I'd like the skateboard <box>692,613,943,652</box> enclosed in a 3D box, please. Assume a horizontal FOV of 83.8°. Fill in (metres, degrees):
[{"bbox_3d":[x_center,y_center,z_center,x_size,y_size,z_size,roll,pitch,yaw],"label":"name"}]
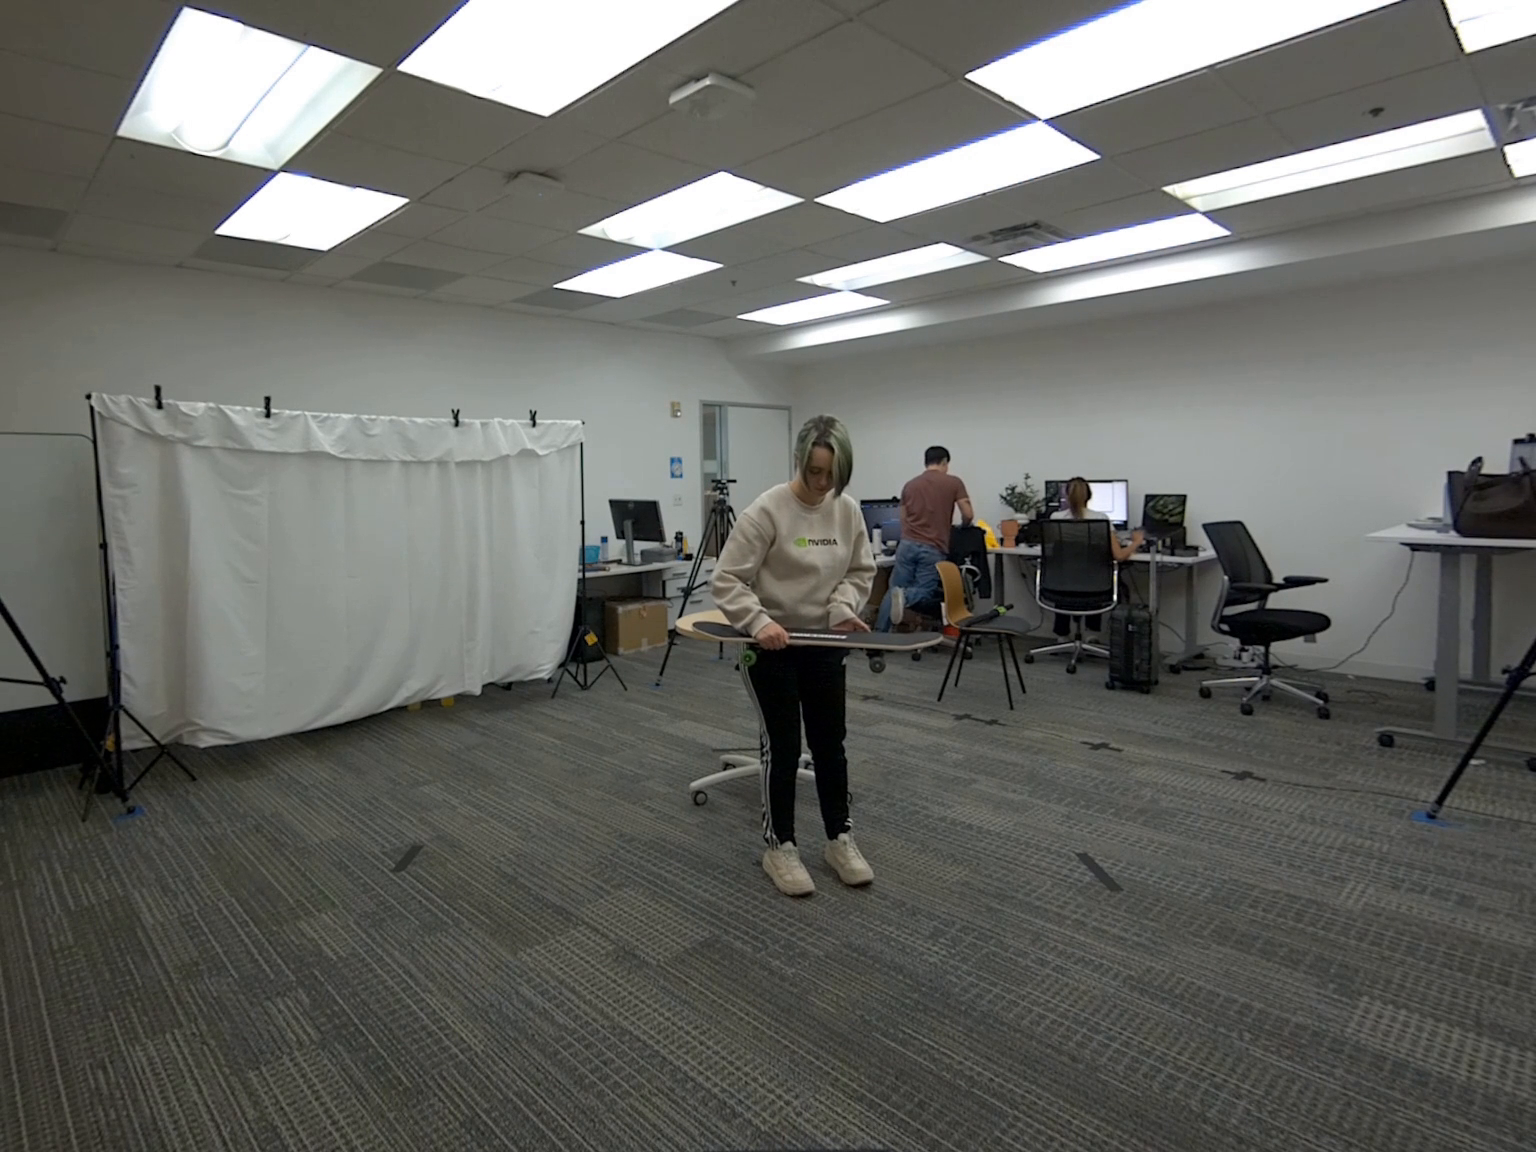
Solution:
[{"bbox_3d":[0.159,0.231,2.709,0.791,0.110,0.193,2,8,7],"label":"skateboard"}]
